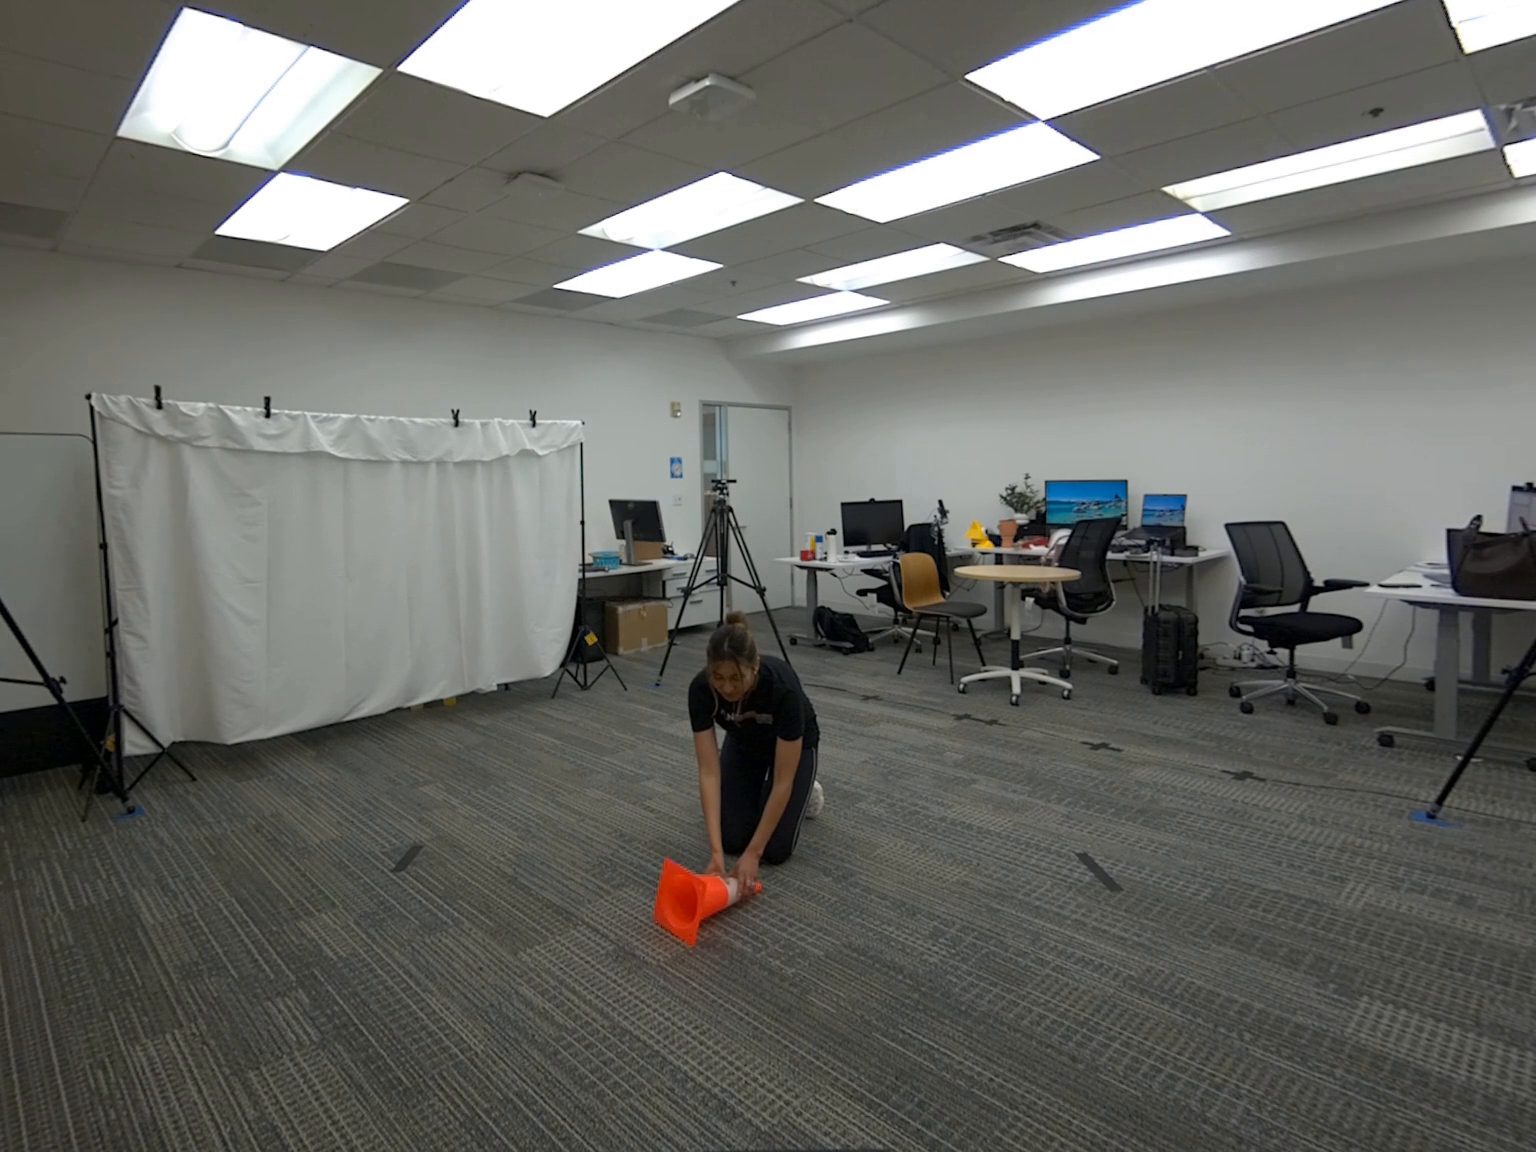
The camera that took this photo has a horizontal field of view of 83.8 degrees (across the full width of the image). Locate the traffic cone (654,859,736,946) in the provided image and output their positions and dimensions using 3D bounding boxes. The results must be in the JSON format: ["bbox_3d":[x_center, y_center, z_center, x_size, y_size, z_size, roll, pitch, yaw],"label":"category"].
[{"bbox_3d":[-0.146,1.029,2.765,0.212,0.203,0.371,12,1,44],"label":"traffic cone"}]
